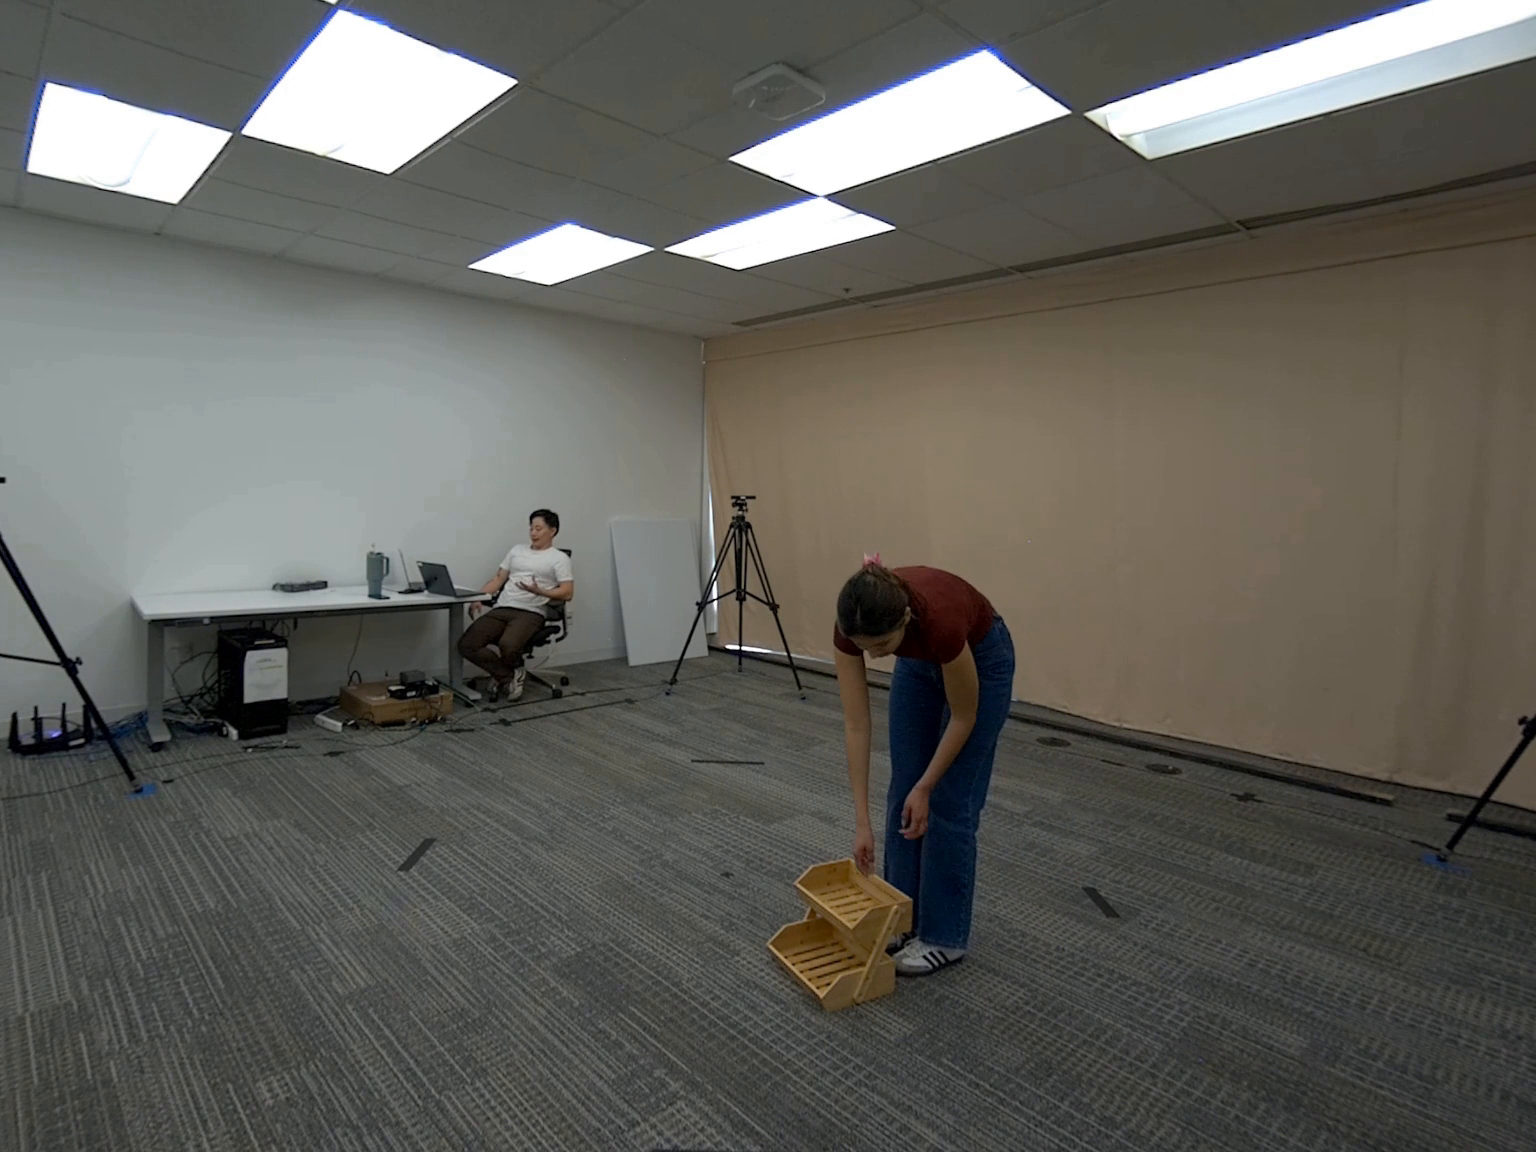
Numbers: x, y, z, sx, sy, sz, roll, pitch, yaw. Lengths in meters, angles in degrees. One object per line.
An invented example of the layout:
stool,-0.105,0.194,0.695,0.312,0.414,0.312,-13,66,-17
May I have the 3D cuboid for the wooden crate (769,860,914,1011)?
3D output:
wooden crate,0.197,1.032,2.464,0.296,0.272,0.332,0,5,-30
